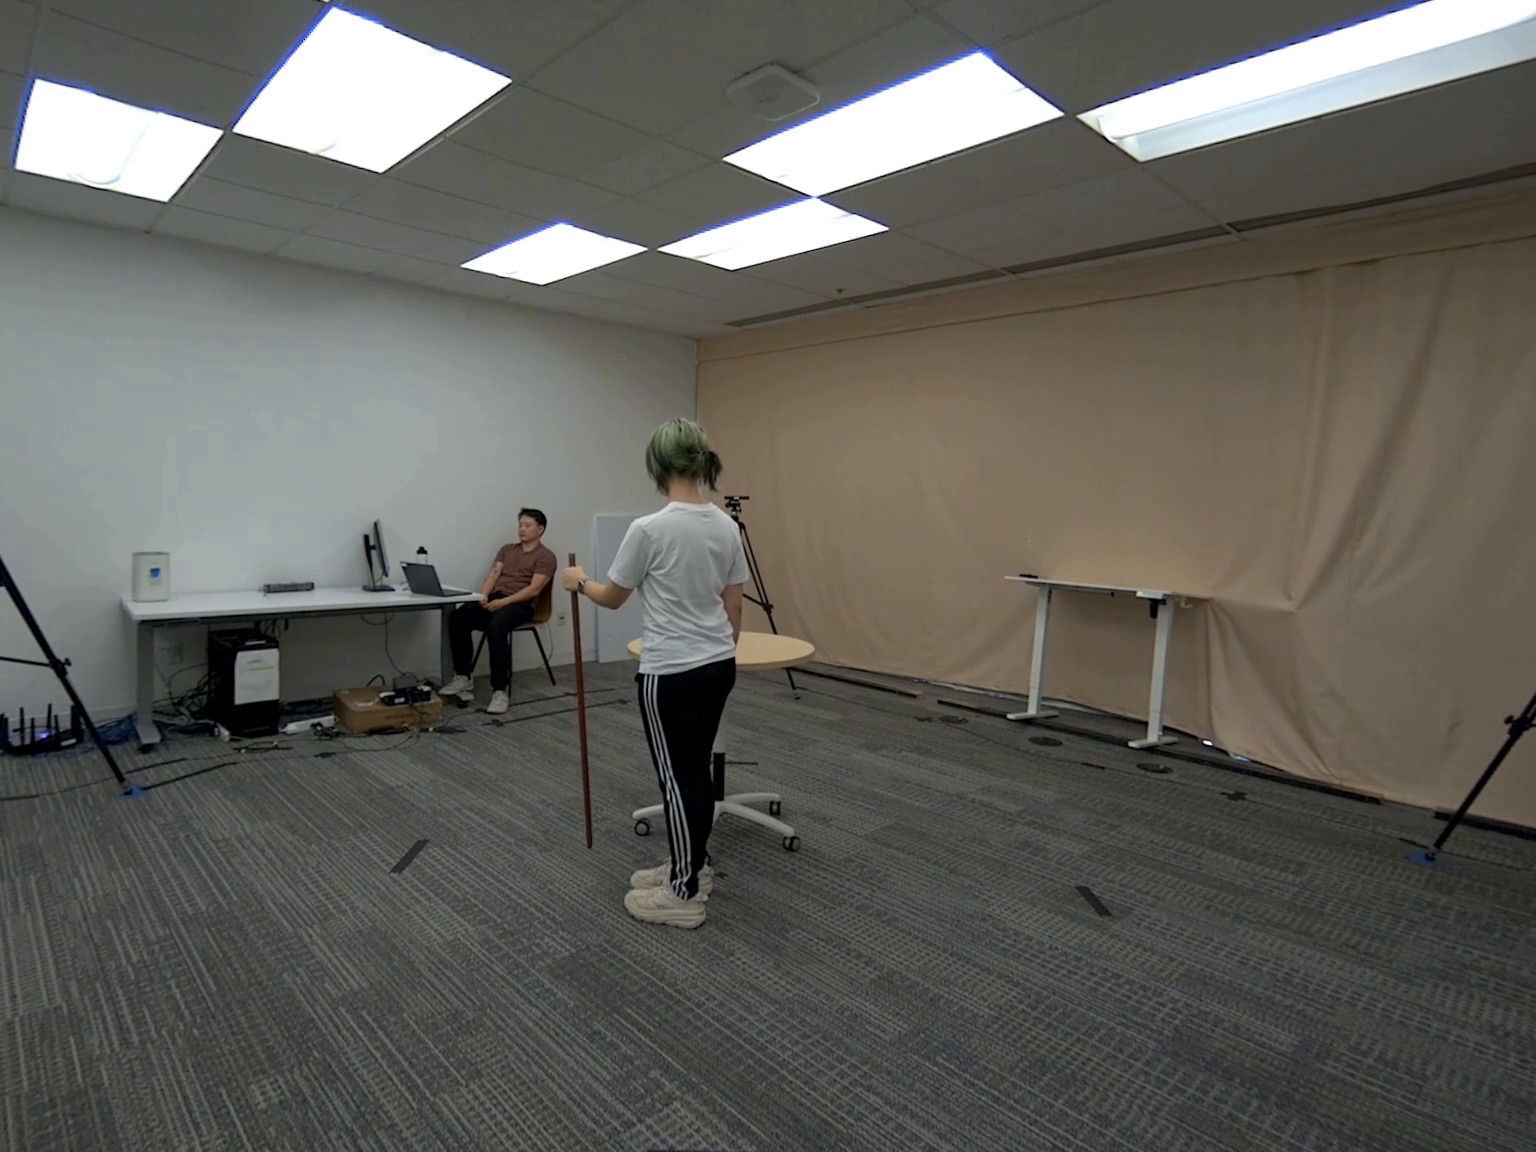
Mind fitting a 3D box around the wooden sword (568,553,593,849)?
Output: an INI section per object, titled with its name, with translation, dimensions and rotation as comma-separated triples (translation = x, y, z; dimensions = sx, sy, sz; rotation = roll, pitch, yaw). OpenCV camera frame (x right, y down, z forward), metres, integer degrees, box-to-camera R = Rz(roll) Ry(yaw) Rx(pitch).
[wooden sword]
translation = -0.654, 0.458, 2.936
dimensions = 0.052, 1.028, 0.023
rotation = -9, -5, 40
